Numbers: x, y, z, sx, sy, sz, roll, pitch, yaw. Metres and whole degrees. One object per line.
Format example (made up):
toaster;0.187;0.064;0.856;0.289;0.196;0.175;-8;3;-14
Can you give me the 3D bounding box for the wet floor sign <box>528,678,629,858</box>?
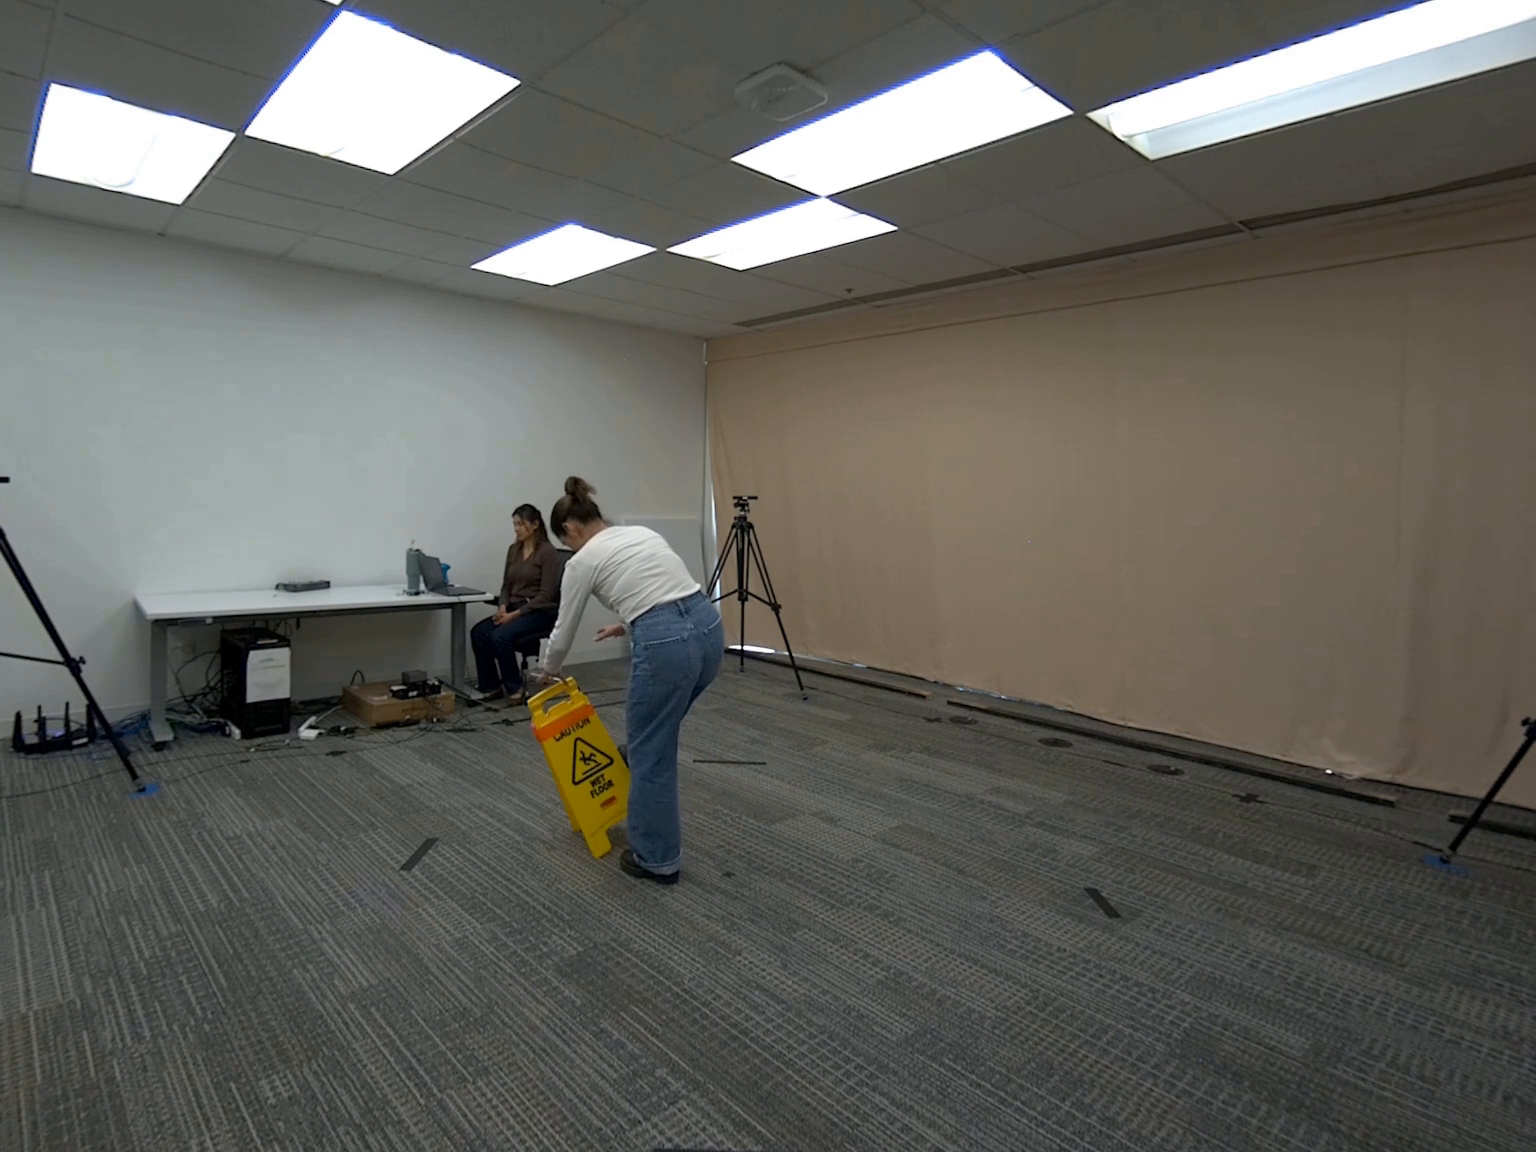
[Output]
wet floor sign;-0.737;0.724;3.328;0.280;0.637;0.296;-28;16;-23
